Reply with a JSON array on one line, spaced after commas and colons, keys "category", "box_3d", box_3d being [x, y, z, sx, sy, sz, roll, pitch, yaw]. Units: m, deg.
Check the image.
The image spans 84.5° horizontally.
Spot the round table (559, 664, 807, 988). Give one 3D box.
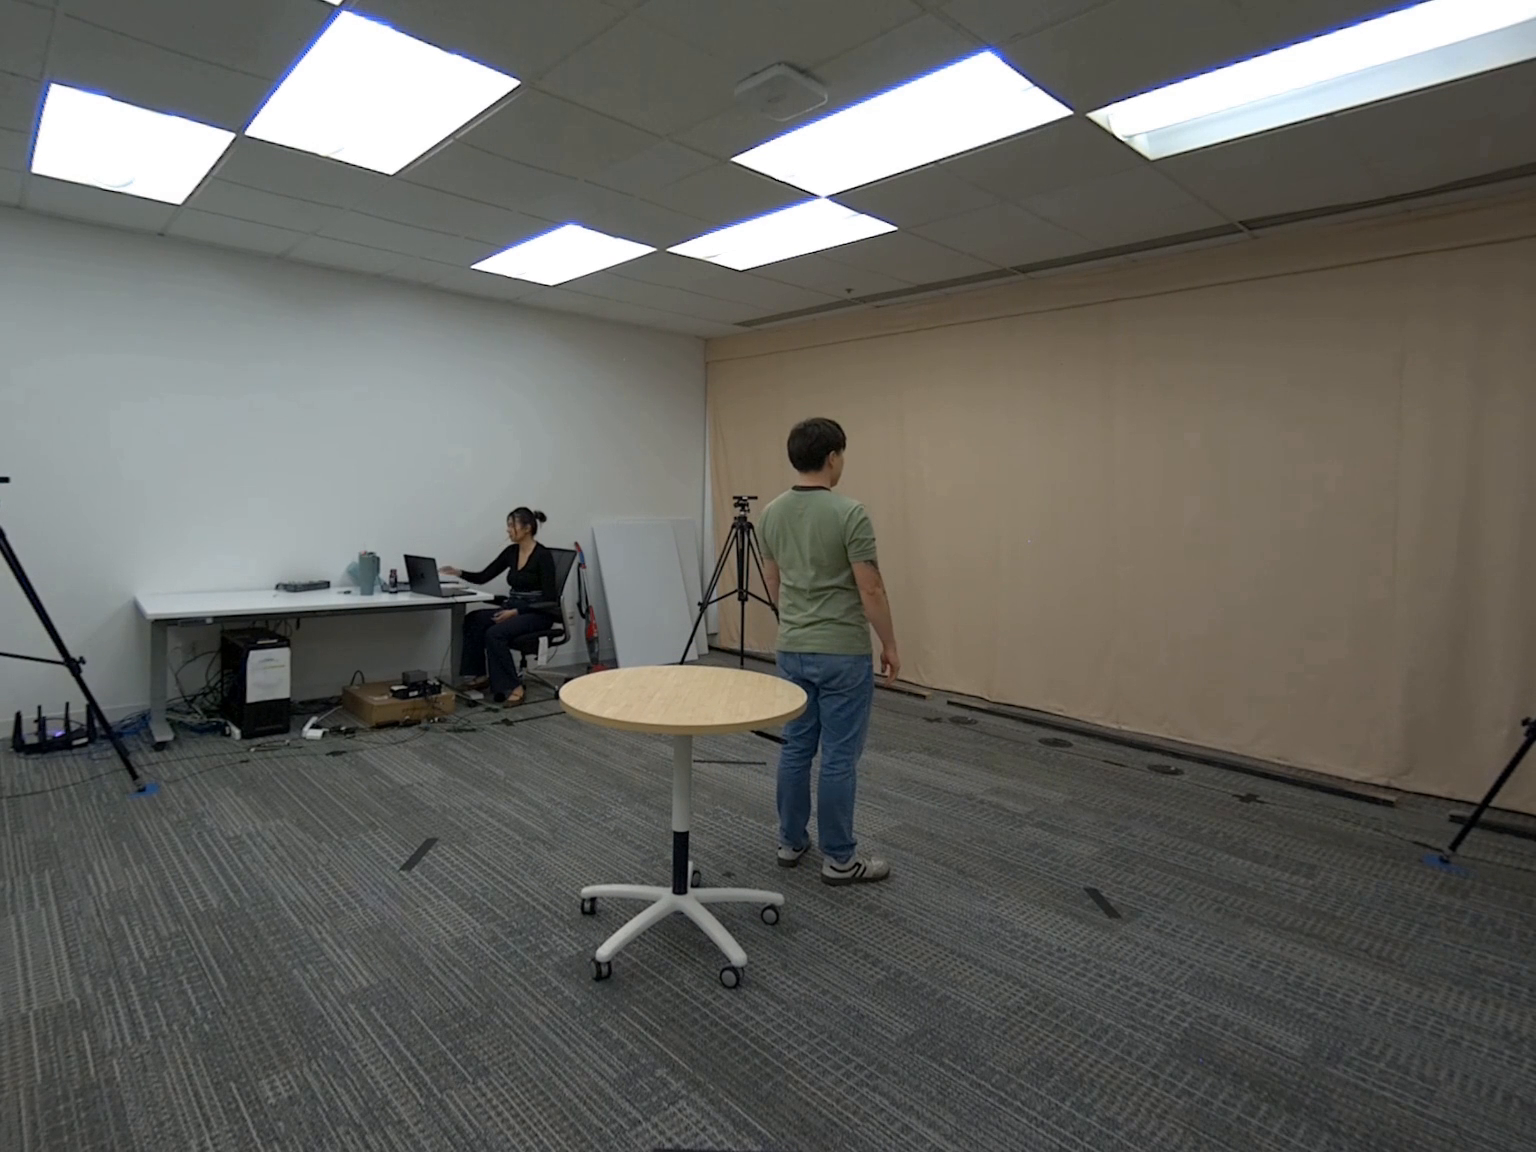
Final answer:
[{"category": "round table", "box_3d": [-0.274, 0.753, 2.647, 0.763, 0.791, 0.767, 1, 5, -1]}]
